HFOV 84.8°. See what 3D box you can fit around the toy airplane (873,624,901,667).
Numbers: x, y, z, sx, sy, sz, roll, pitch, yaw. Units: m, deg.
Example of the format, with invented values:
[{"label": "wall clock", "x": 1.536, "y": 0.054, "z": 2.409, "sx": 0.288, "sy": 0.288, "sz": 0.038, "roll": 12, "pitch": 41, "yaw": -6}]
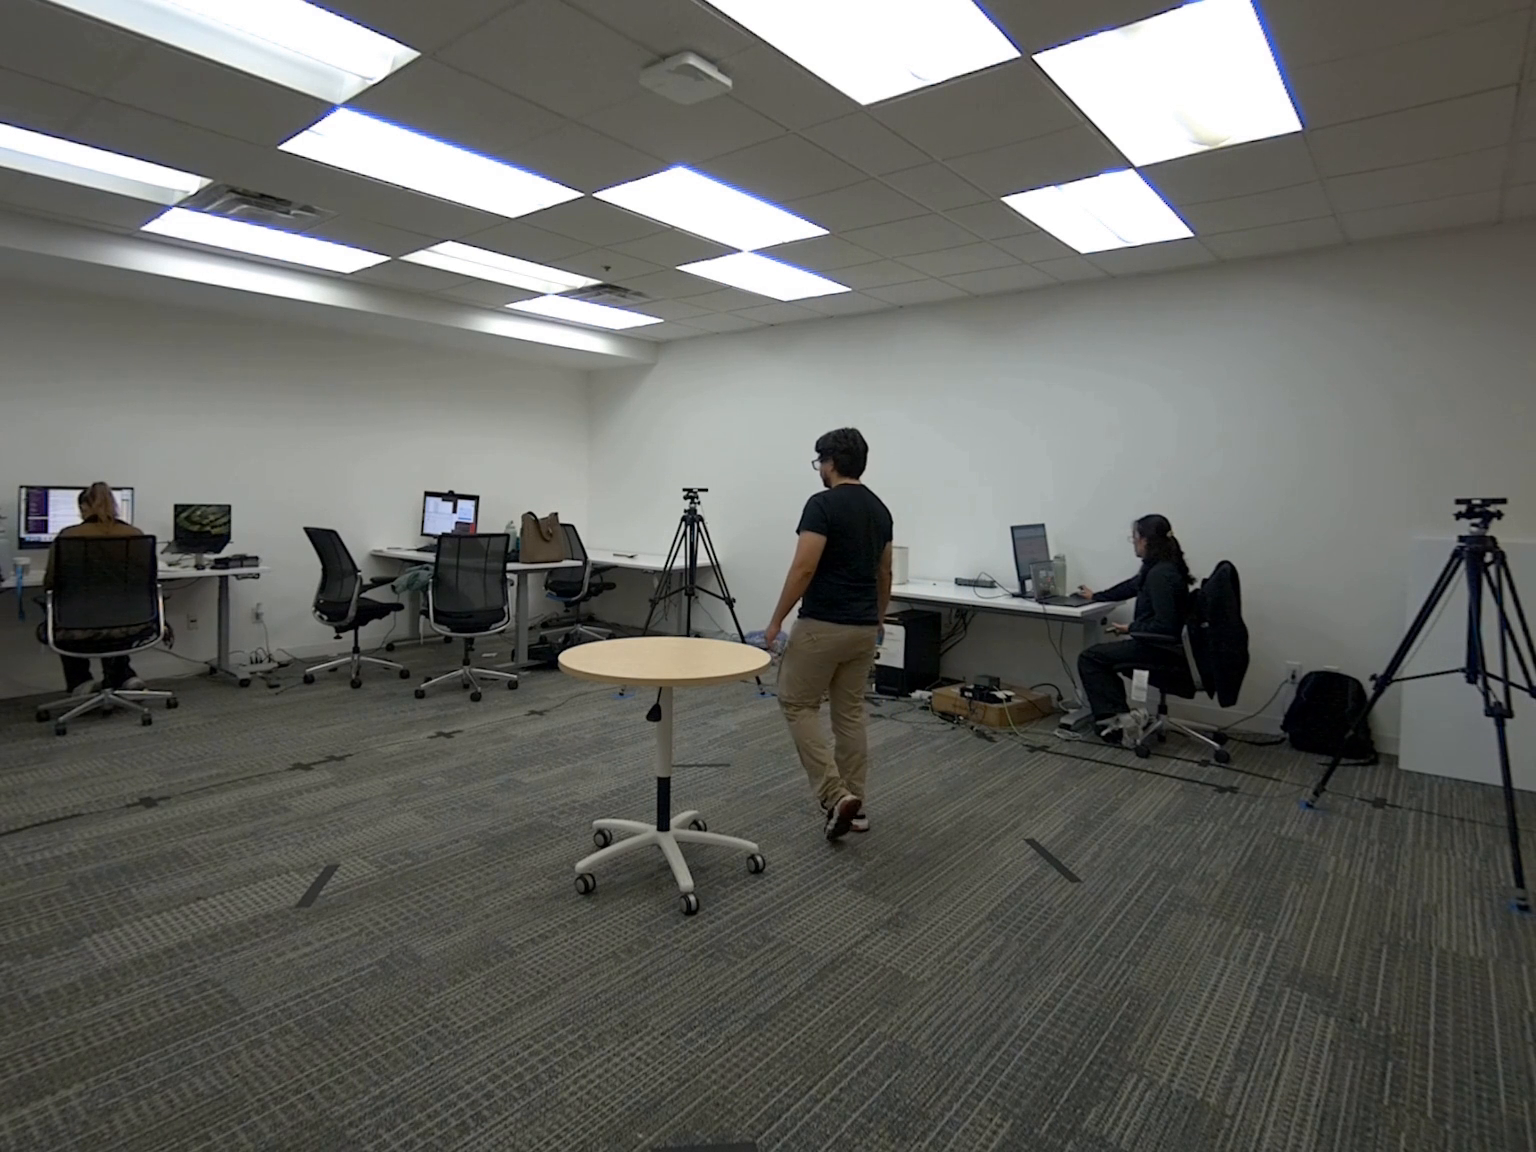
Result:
[{"label": "toy airplane", "x": 0.426, "y": 0.307, "z": 3.877, "sx": 0.266, "sy": 0.158, "sz": 0.241, "roll": -5, "pitch": -21, "yaw": 39}]
